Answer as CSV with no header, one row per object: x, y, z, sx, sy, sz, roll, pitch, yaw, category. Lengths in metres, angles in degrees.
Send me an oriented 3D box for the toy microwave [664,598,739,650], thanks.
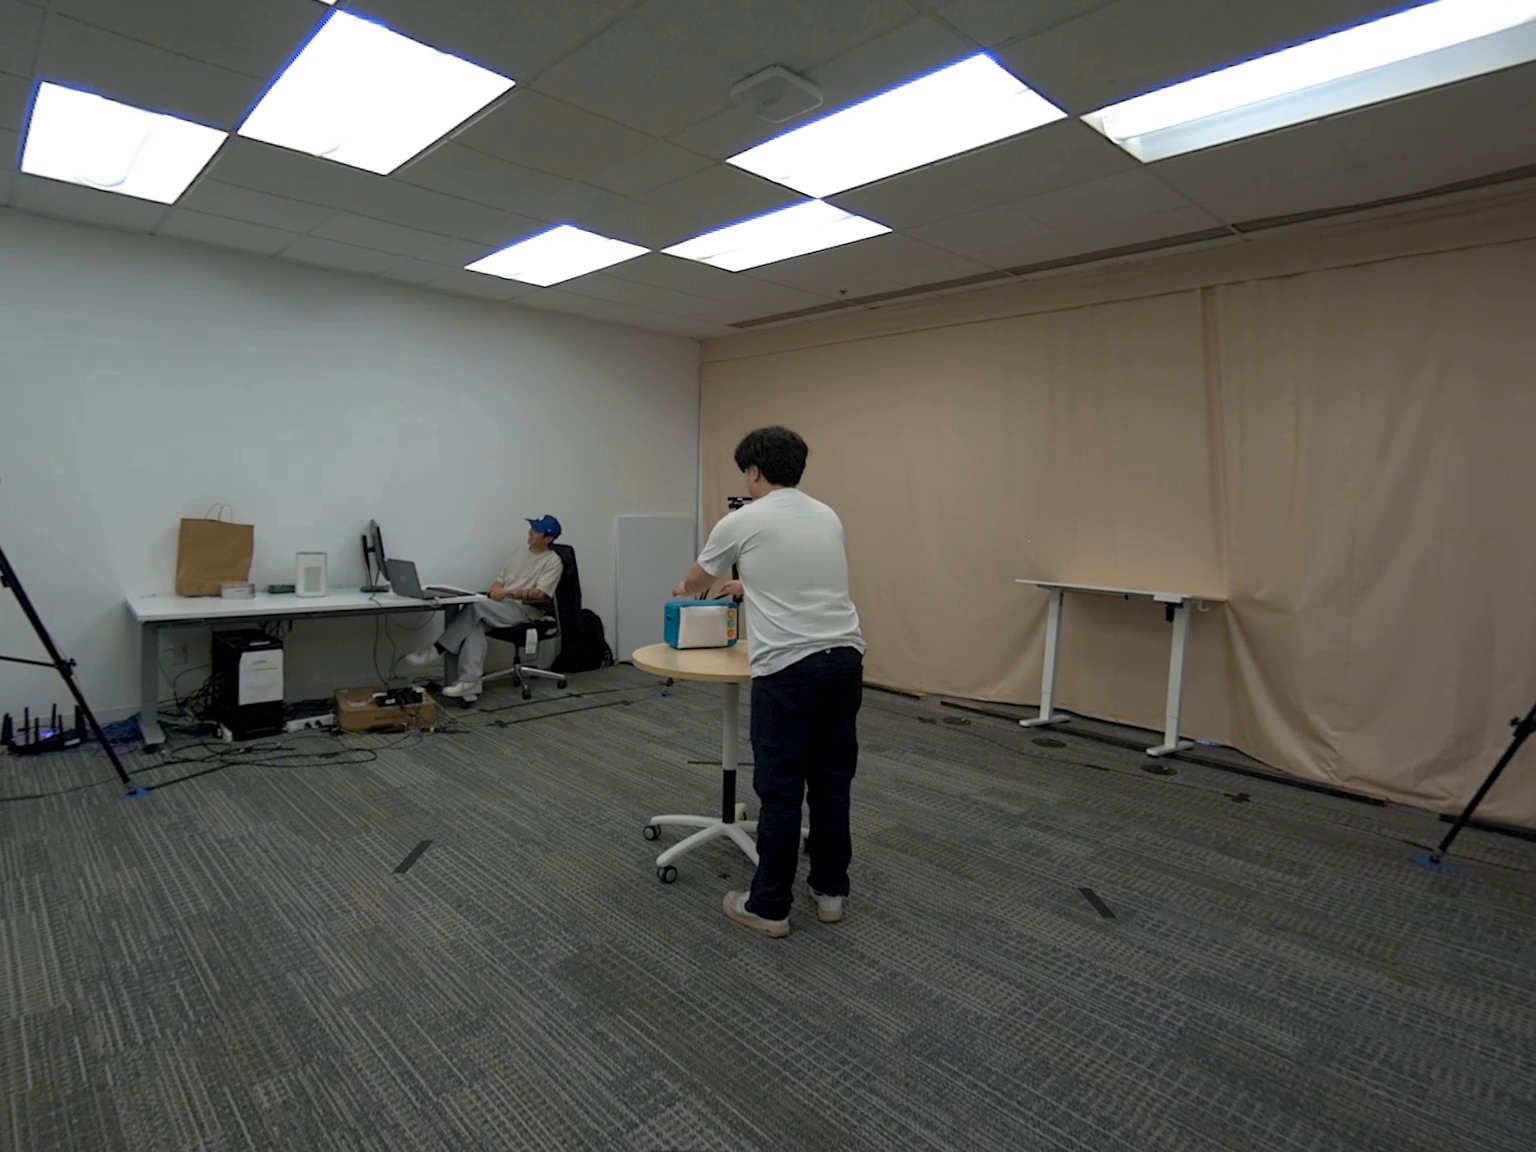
-0.275,0.194,3.413,0.281,0.184,0.155,-1,4,-27,toy microwave
